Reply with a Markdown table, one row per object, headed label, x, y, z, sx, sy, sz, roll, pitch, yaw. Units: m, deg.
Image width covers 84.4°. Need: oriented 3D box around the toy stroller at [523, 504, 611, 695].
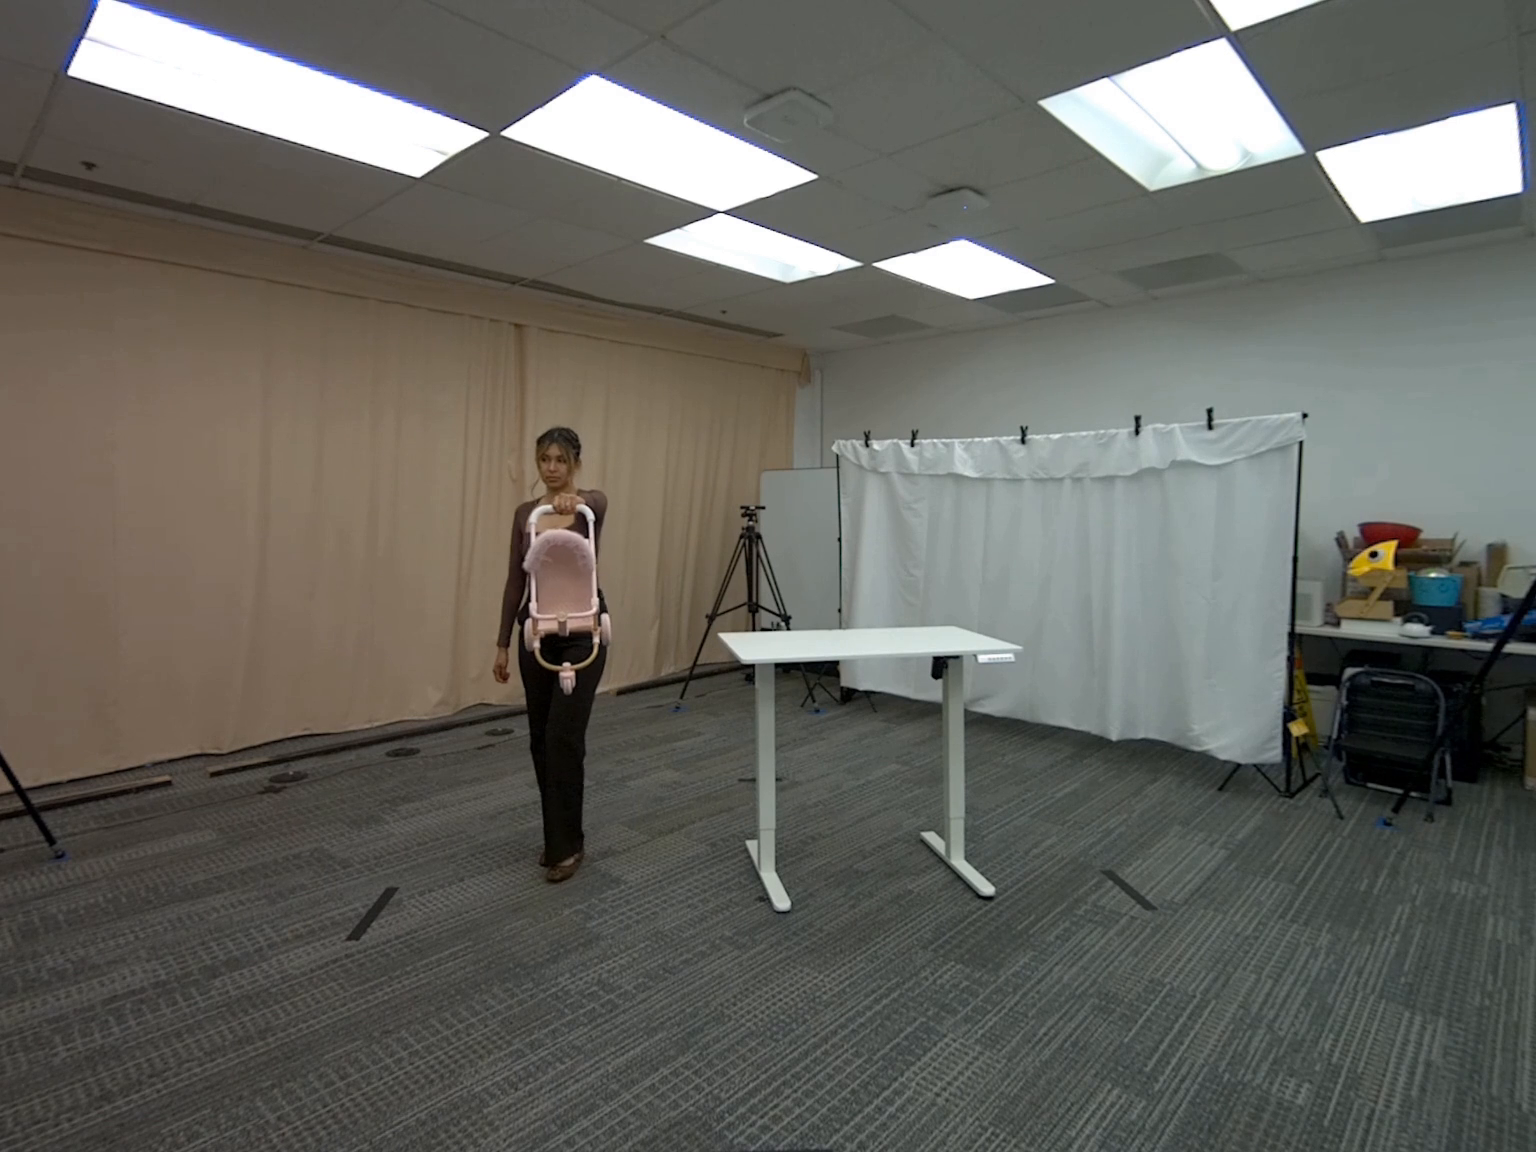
| label | x | y | z | sx | sy | sz | roll | pitch | yaw |
| --- | --- | --- | --- | --- | --- | --- | --- | --- | --- |
| toy stroller | -0.645 | 0.076 | 2.660 | 0.279 | 0.530 | 0.347 | -1 | 15 | -8 |
